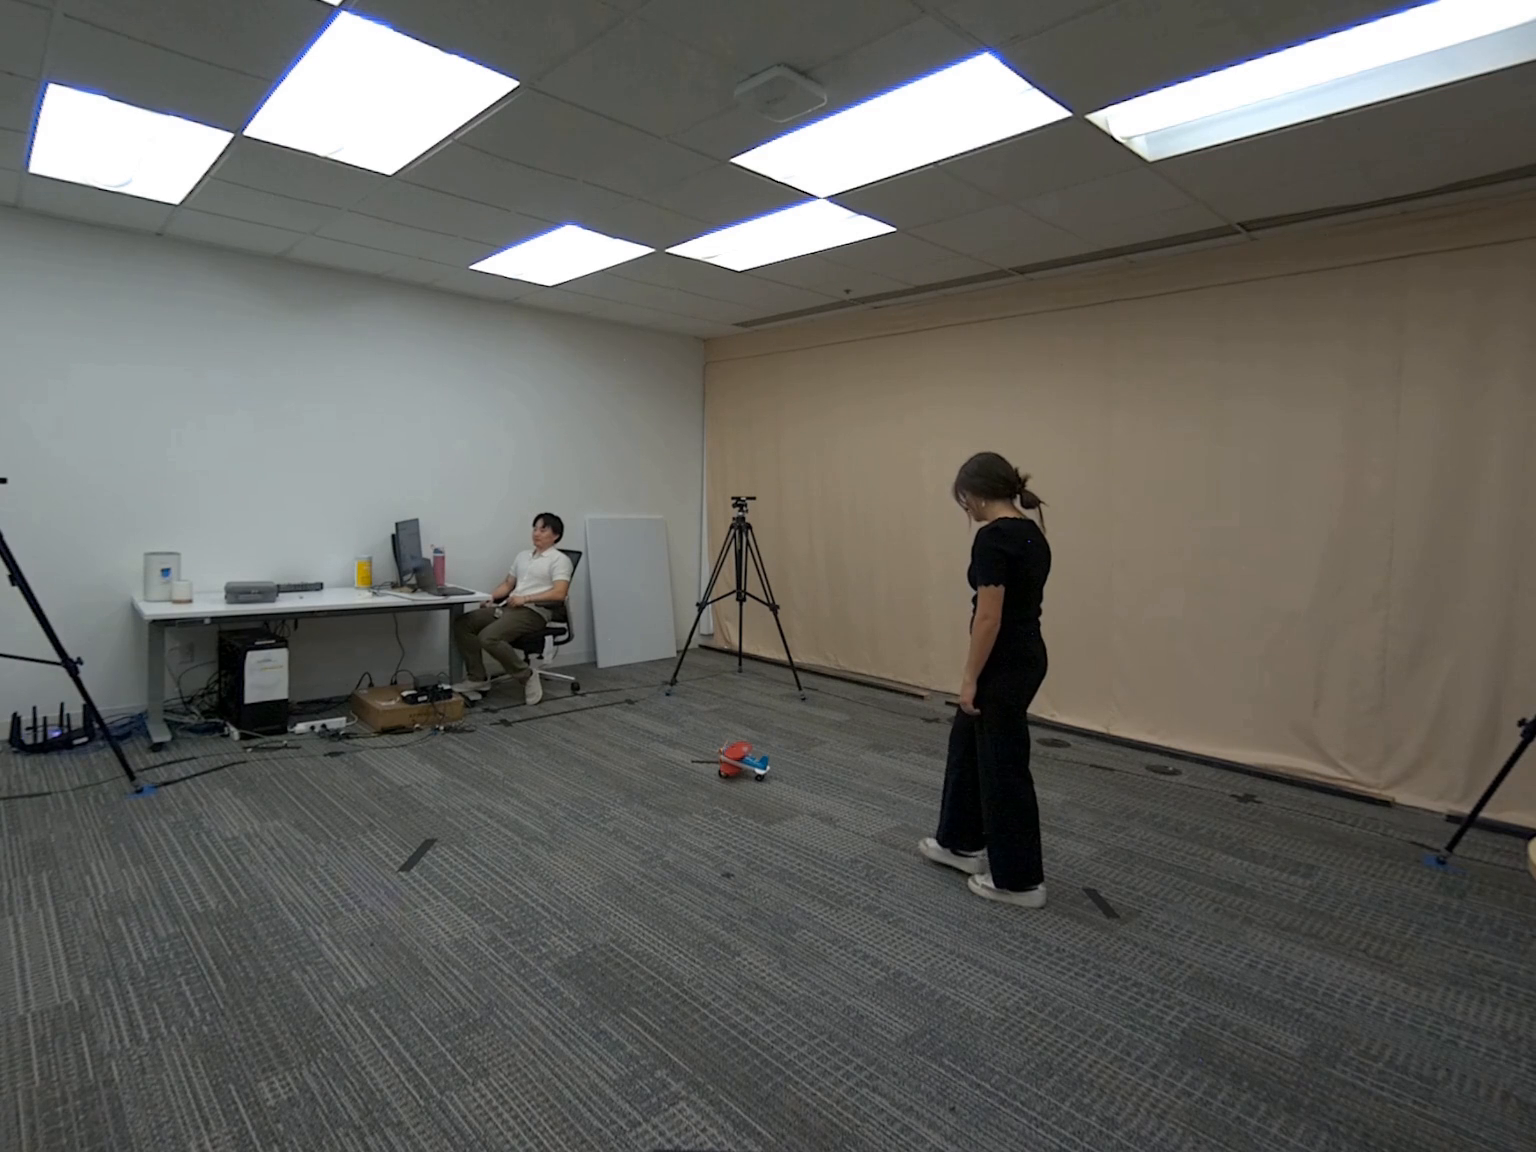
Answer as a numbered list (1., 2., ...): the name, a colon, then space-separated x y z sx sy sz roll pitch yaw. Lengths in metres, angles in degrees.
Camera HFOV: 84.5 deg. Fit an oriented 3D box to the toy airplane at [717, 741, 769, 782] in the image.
1. toy airplane: -0.134 0.934 4.234 0.258 0.156 0.253 0 4 -7
